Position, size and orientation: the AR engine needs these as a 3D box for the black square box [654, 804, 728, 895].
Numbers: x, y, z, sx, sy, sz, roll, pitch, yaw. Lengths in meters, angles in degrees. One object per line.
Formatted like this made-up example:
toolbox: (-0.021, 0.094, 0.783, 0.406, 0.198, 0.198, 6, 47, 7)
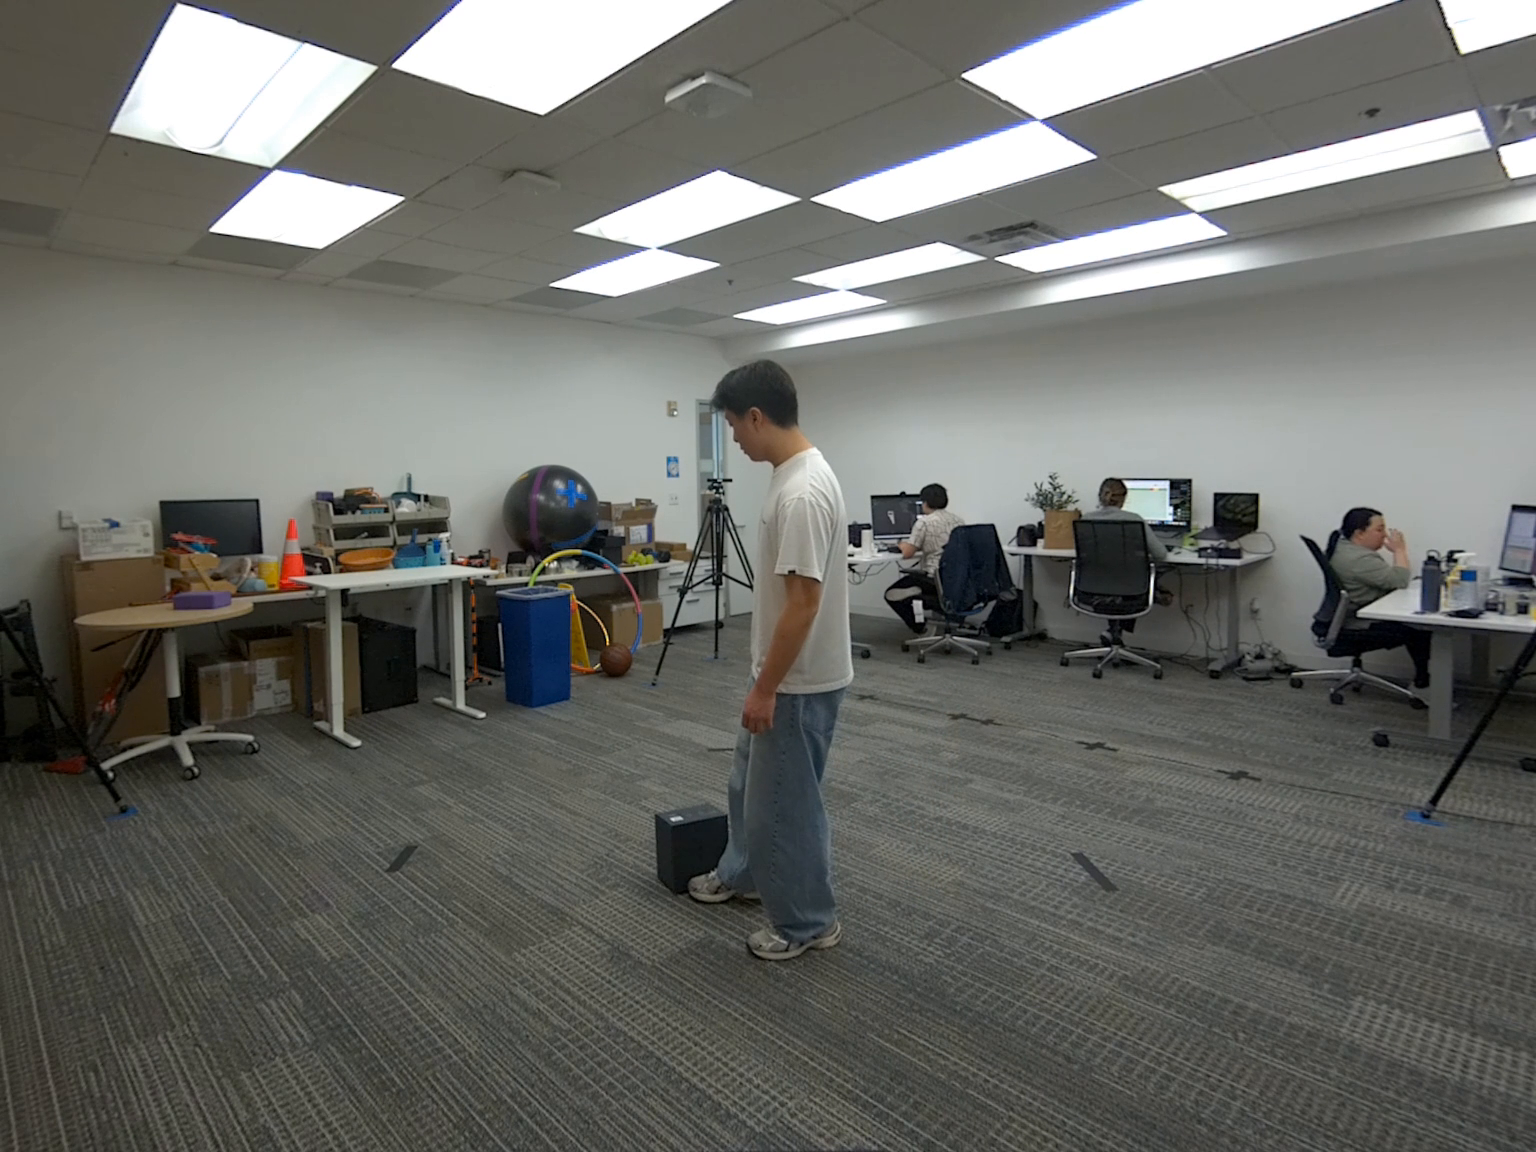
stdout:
black square box: (-0.258, 0.942, 2.976, 0.212, 0.227, 0.160, -3, 3, -27)
